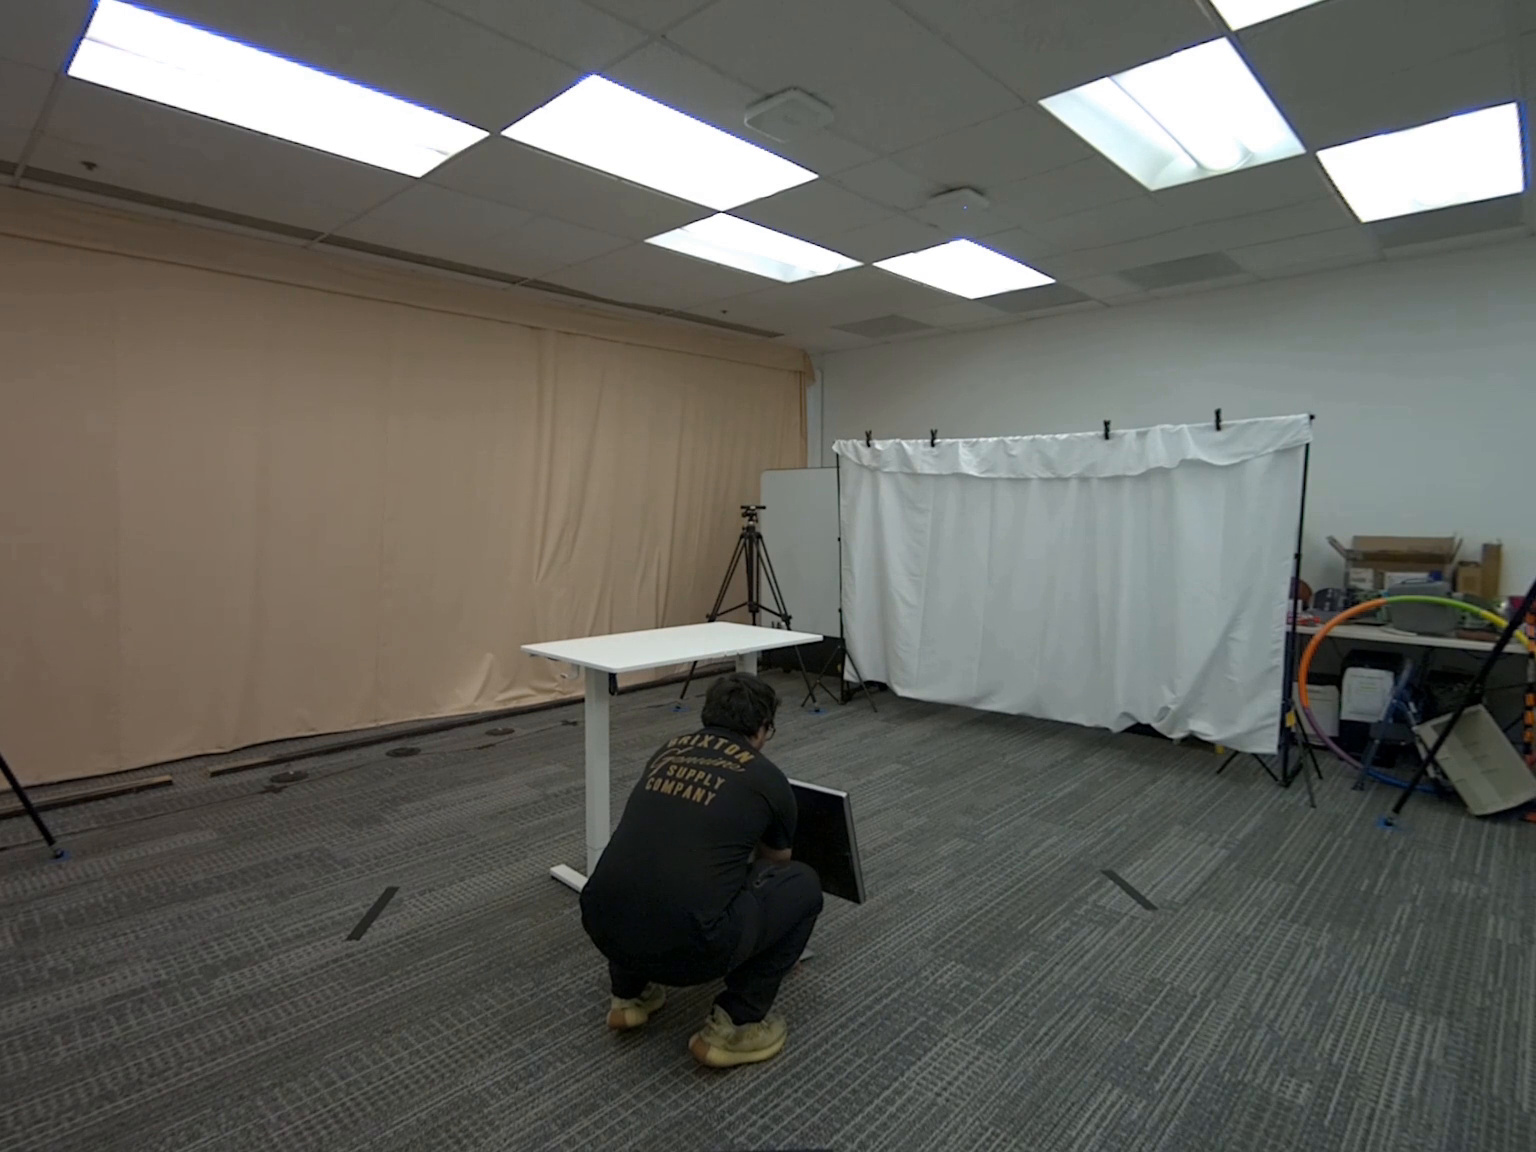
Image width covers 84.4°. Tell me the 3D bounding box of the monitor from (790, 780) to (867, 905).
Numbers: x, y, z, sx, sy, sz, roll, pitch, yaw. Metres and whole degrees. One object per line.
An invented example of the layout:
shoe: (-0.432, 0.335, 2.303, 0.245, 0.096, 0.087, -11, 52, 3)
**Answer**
monitor: (0.009, 0.897, 2.609, 0.584, 0.552, 0.204, 3, 7, 40)
